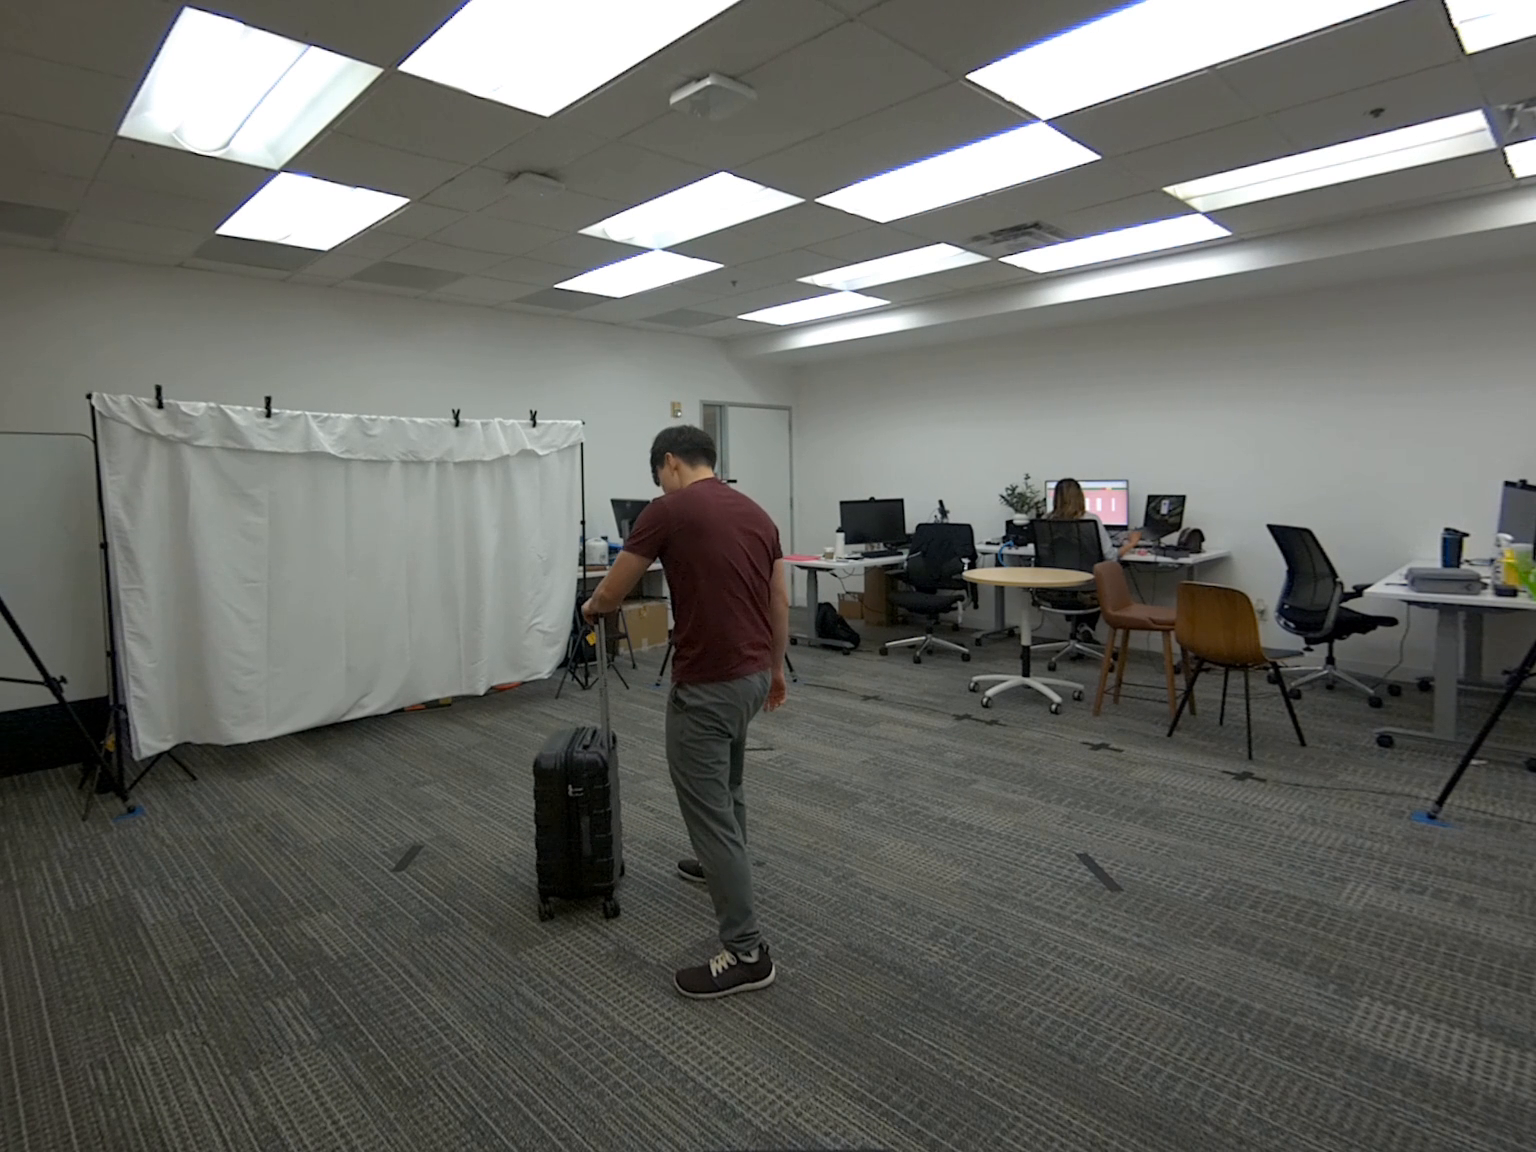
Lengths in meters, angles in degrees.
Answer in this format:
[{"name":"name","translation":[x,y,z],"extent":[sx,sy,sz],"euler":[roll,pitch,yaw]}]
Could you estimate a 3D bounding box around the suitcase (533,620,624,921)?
[{"name":"suitcase","translation":[-0.649,0.608,2.886],"extent":[0.256,0.976,0.386],"euler":[-4,3,-3]}]
